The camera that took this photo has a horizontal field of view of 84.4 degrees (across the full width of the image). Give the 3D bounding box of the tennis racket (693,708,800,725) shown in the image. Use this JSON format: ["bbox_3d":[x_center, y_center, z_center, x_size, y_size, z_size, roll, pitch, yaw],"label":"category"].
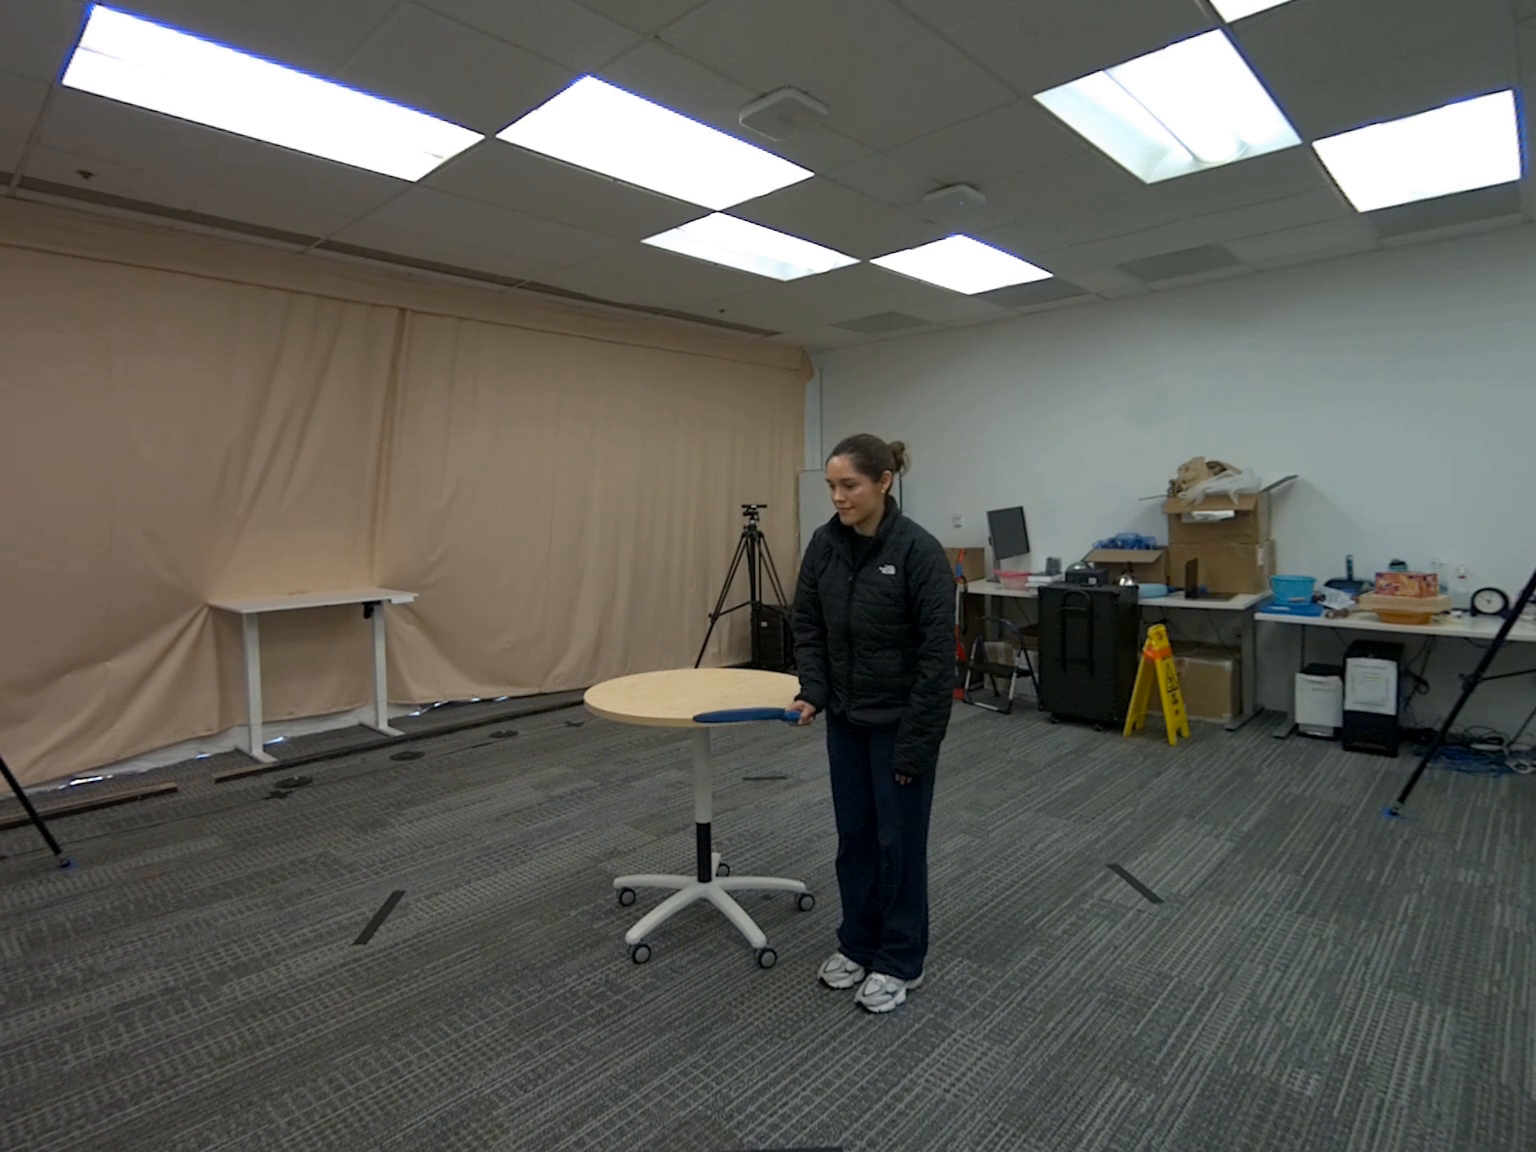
[{"bbox_3d":[0.004,0.379,2.196,0.219,0.032,0.418,-20,-20,41],"label":"tennis racket"}]
